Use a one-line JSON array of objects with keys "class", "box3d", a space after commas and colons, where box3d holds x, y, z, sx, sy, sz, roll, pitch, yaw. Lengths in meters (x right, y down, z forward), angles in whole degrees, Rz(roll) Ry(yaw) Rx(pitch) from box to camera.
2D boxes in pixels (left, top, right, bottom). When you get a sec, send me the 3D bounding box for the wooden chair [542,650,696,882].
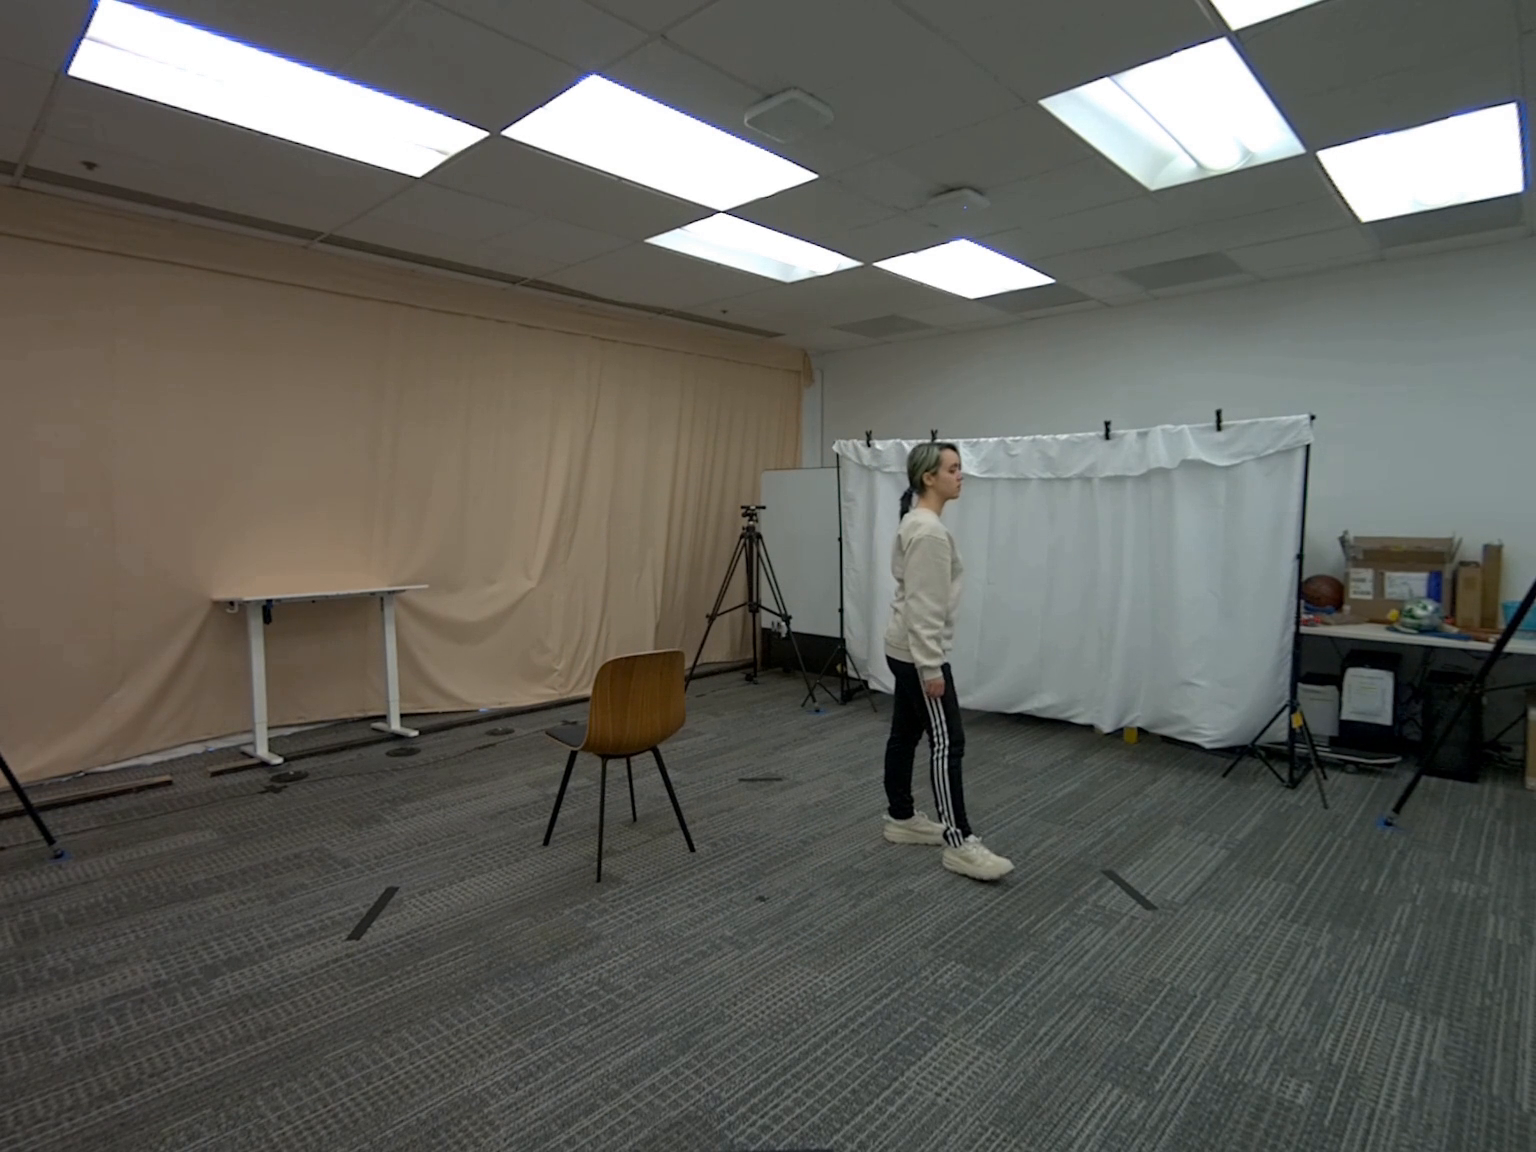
[{"class": "wooden chair", "box3d": [-0.618, 0.689, 3.413, 0.464, 0.874, 0.541, -3, 9, -39]}]
